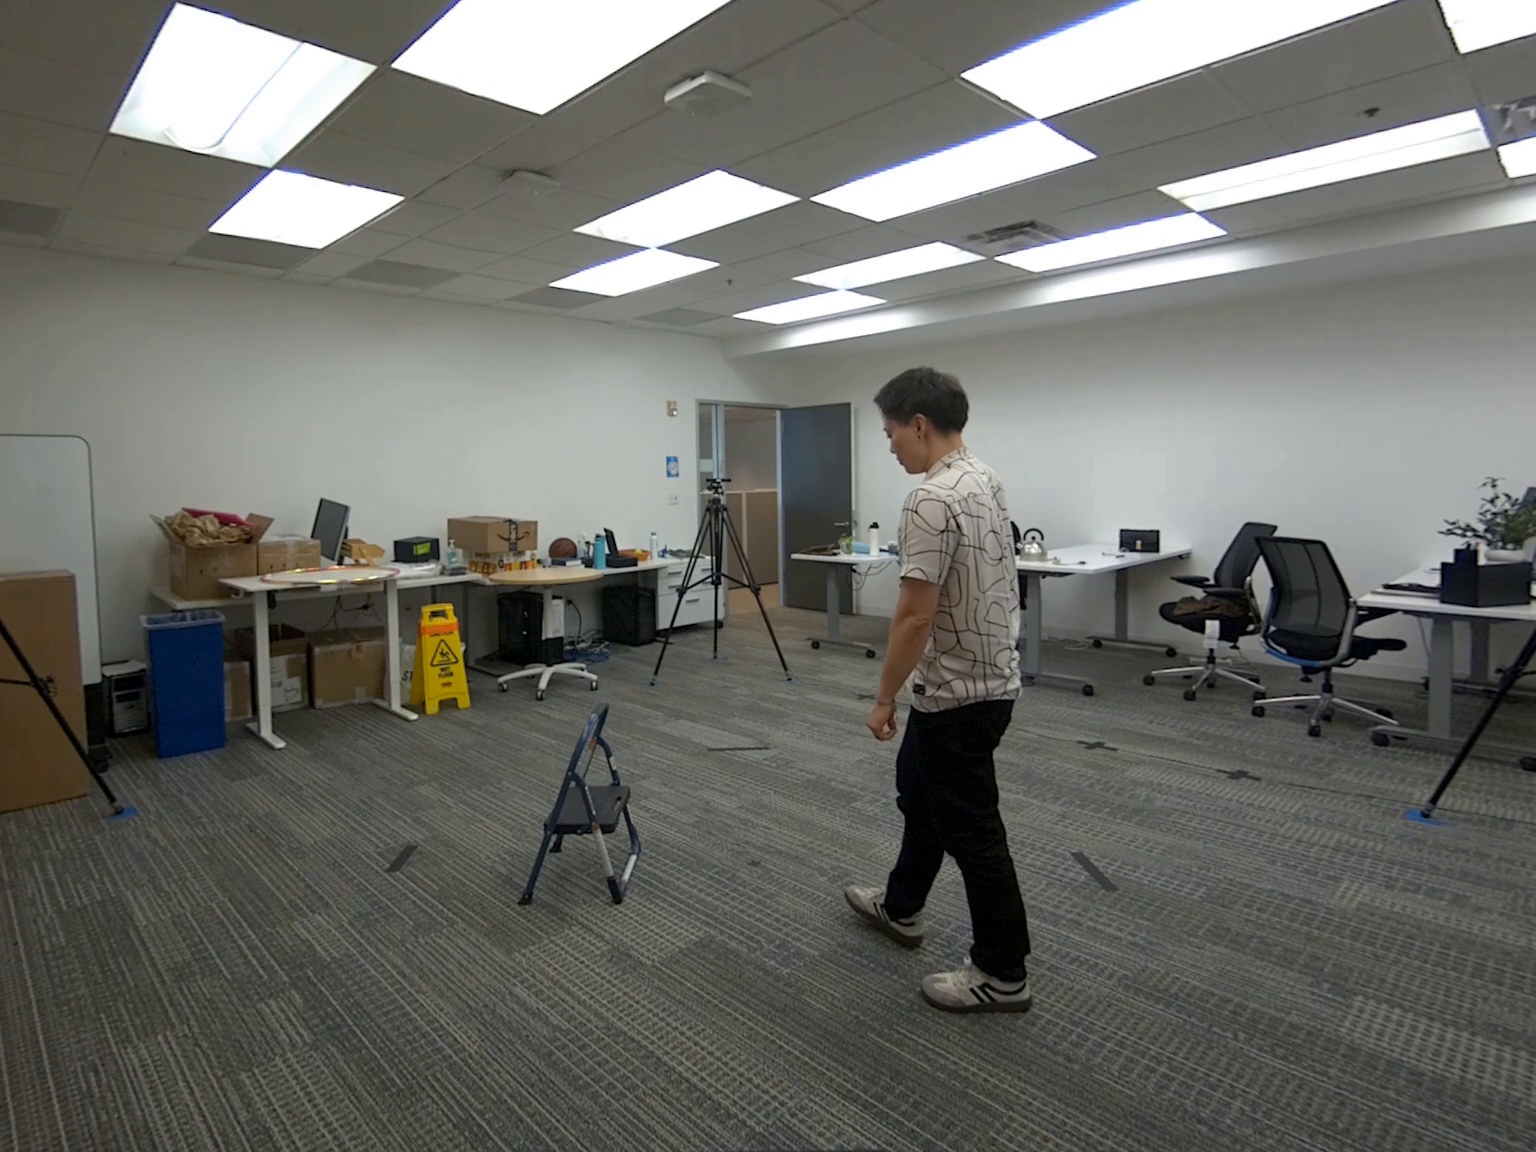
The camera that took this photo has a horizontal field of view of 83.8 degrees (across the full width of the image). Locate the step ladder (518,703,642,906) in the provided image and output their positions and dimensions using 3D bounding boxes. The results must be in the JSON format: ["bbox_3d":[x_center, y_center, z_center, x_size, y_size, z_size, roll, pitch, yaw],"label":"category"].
[{"bbox_3d":[-0.656,0.769,3.014,0.350,0.604,0.431,-2,4,1],"label":"step ladder"}]
